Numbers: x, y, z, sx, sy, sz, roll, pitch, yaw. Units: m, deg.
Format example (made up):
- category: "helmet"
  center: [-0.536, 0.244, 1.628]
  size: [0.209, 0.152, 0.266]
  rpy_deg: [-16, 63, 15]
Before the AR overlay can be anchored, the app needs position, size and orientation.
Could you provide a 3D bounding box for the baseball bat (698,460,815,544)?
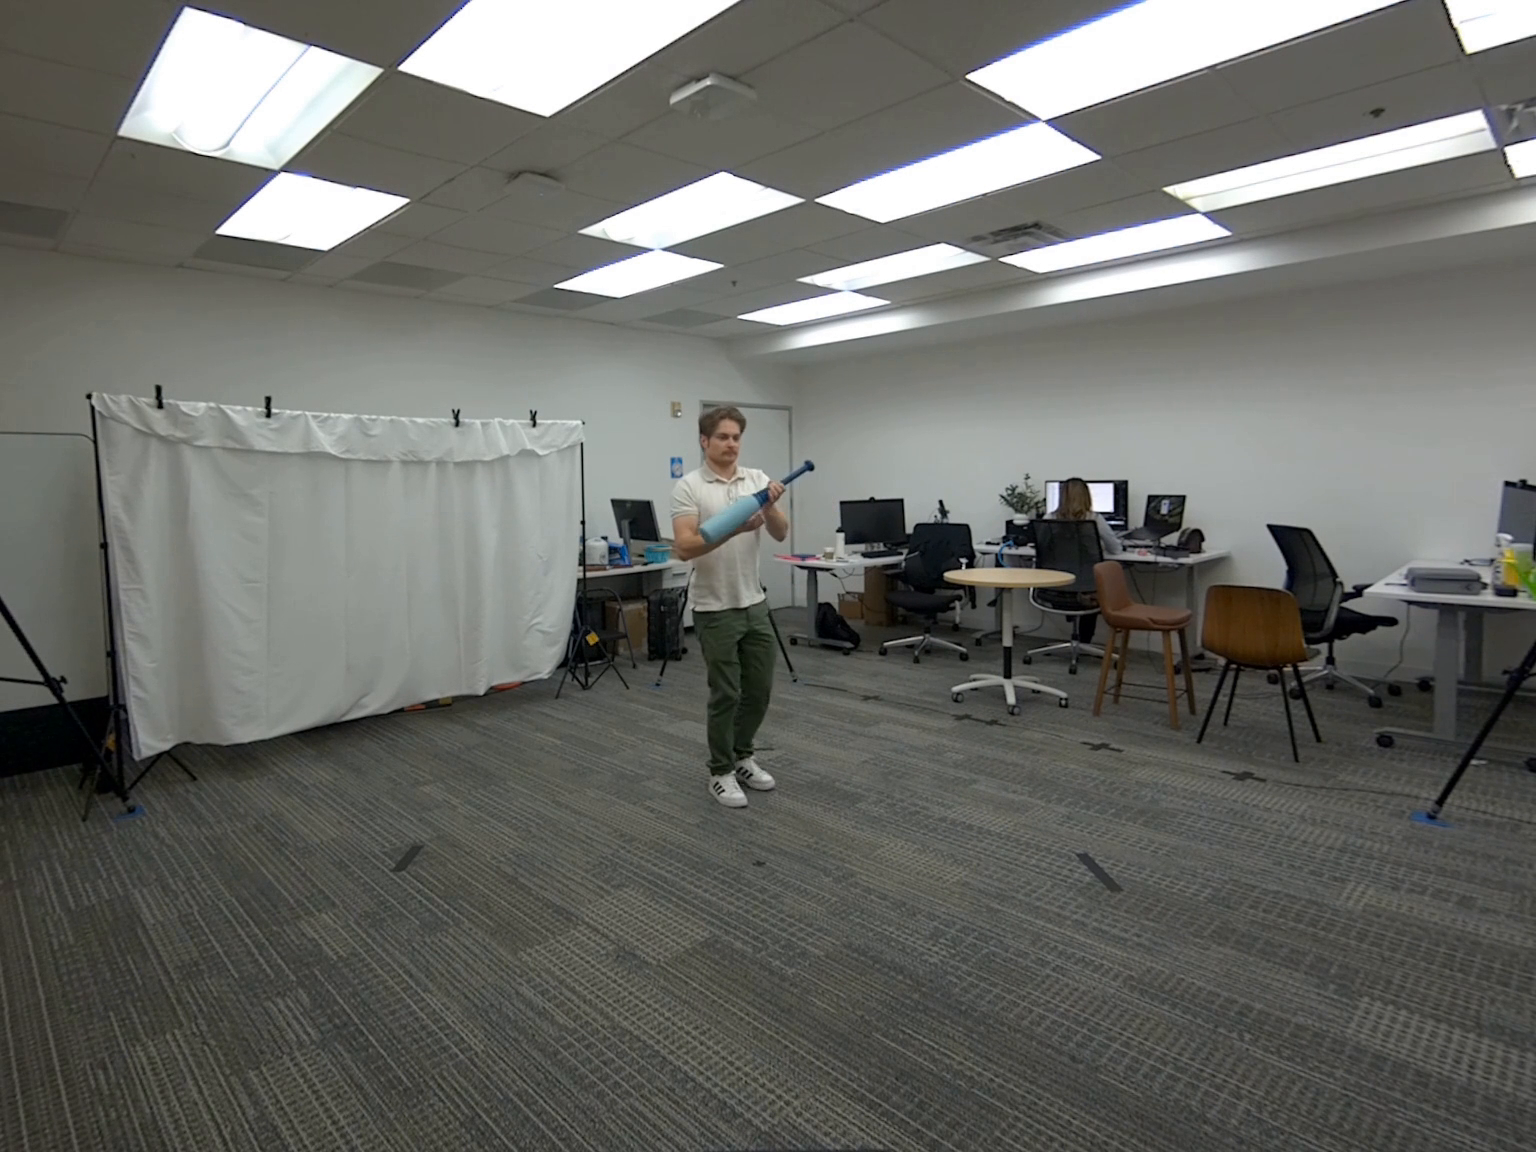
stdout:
- category: "baseball bat"
  center: [-0.039, -0.302, 3.319]
  size: [0.540, 0.087, 0.091]
  rpy_deg: [-36, 16, -16]
